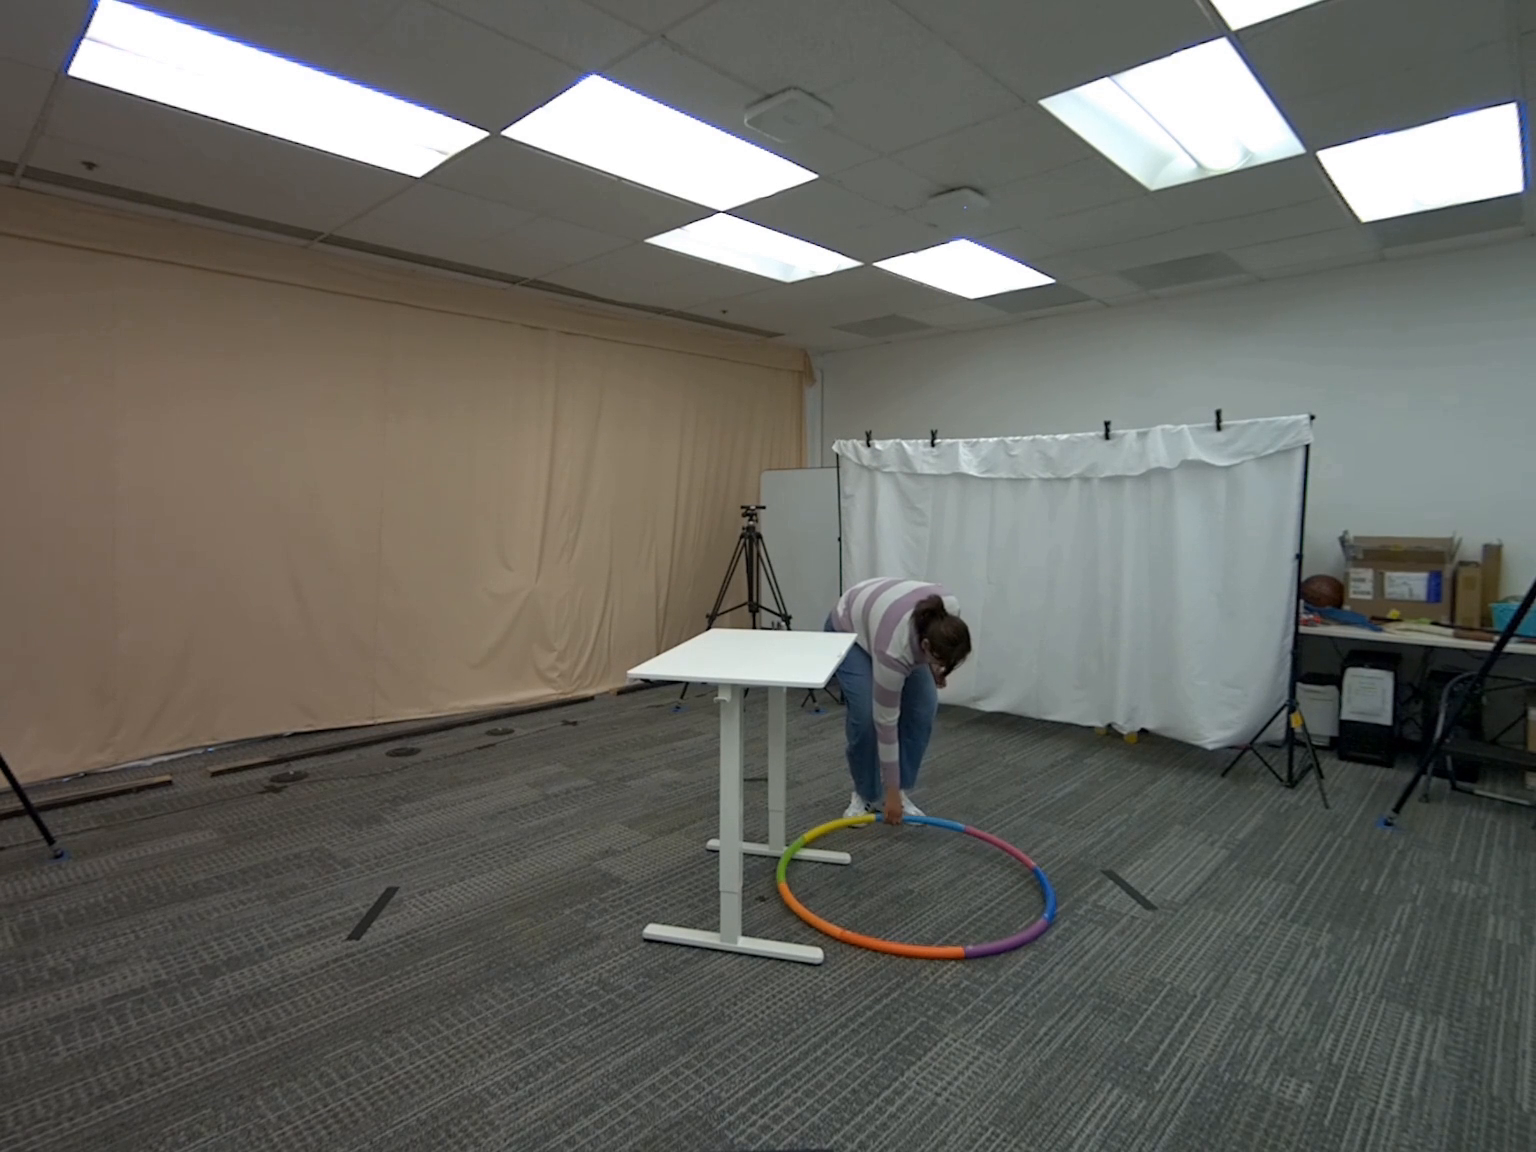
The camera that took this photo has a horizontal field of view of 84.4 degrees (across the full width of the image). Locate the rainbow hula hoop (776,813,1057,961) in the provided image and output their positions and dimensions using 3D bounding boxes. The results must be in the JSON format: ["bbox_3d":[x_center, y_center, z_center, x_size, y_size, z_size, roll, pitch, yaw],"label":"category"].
[{"bbox_3d":[0.534,1.084,3.057,0.978,0.035,0.985,-1,9,-2],"label":"rainbow hula hoop"}]
